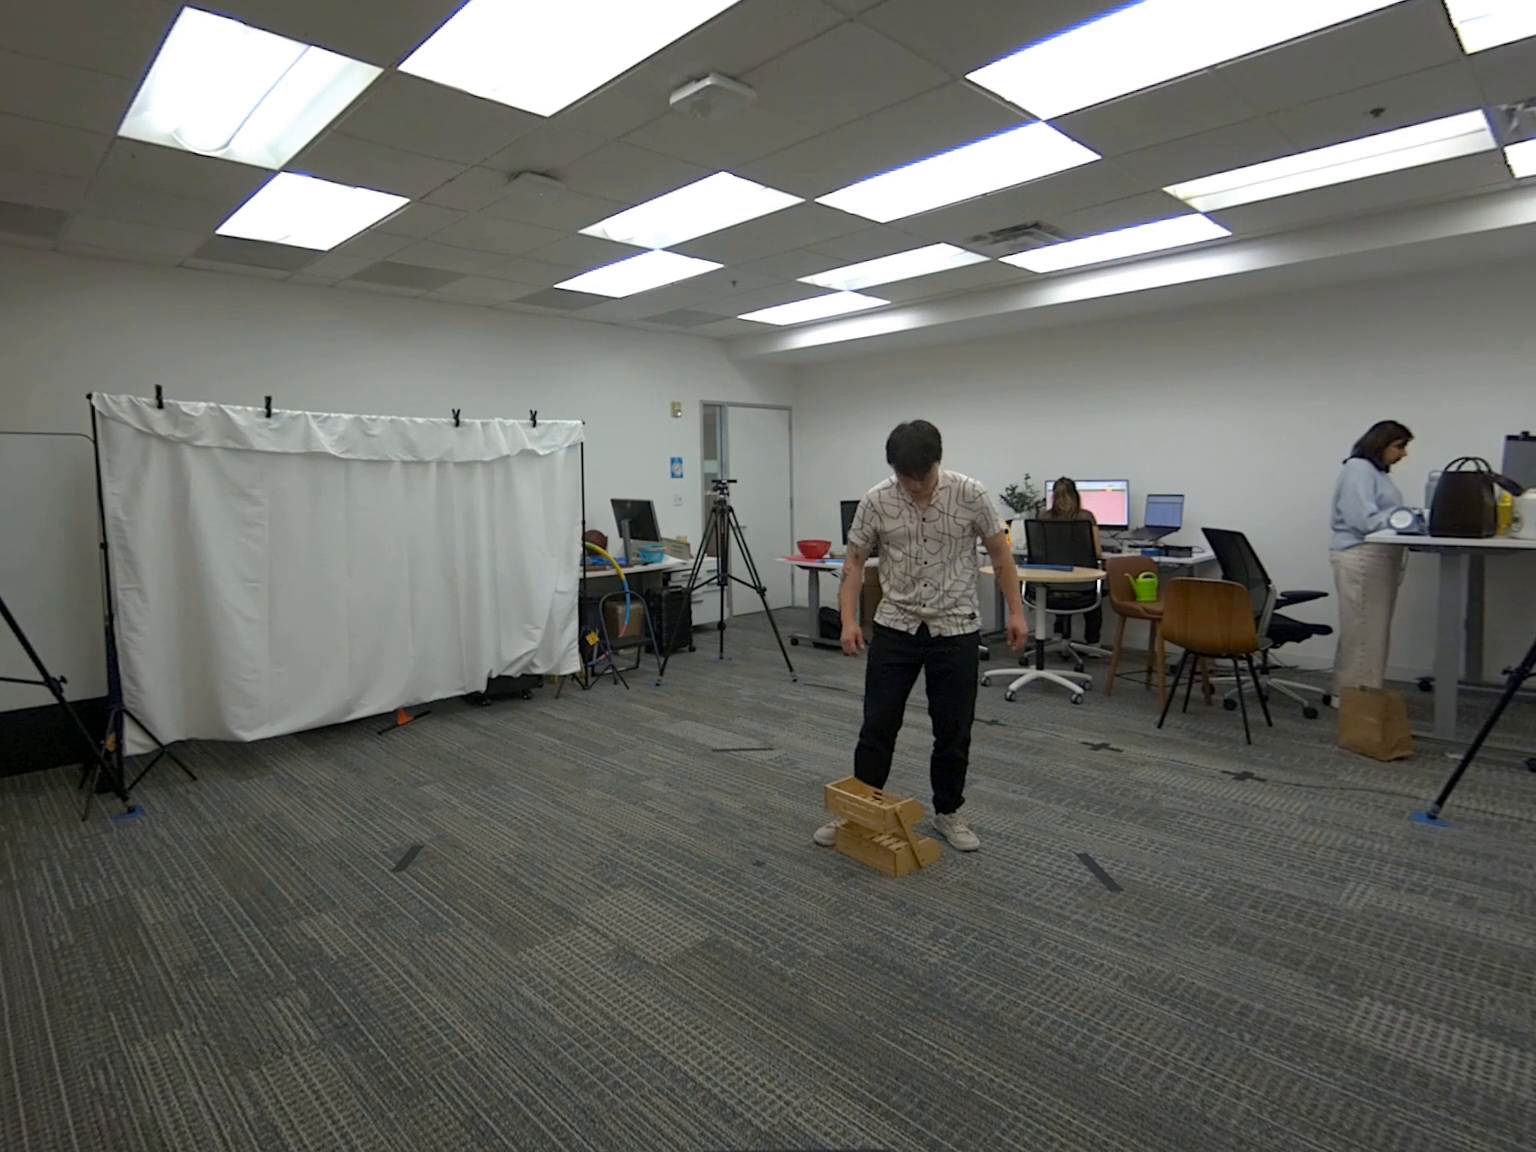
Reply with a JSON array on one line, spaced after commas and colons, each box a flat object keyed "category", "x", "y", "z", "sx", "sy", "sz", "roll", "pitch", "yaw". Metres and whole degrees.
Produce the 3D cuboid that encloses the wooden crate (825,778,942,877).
[{"category": "wooden crate", "x": 0.428, "y": 0.903, "z": 3.145, "sx": 0.294, "sy": 0.272, "sz": 0.334, "roll": -6, "pitch": 6, "yaw": -38}]
